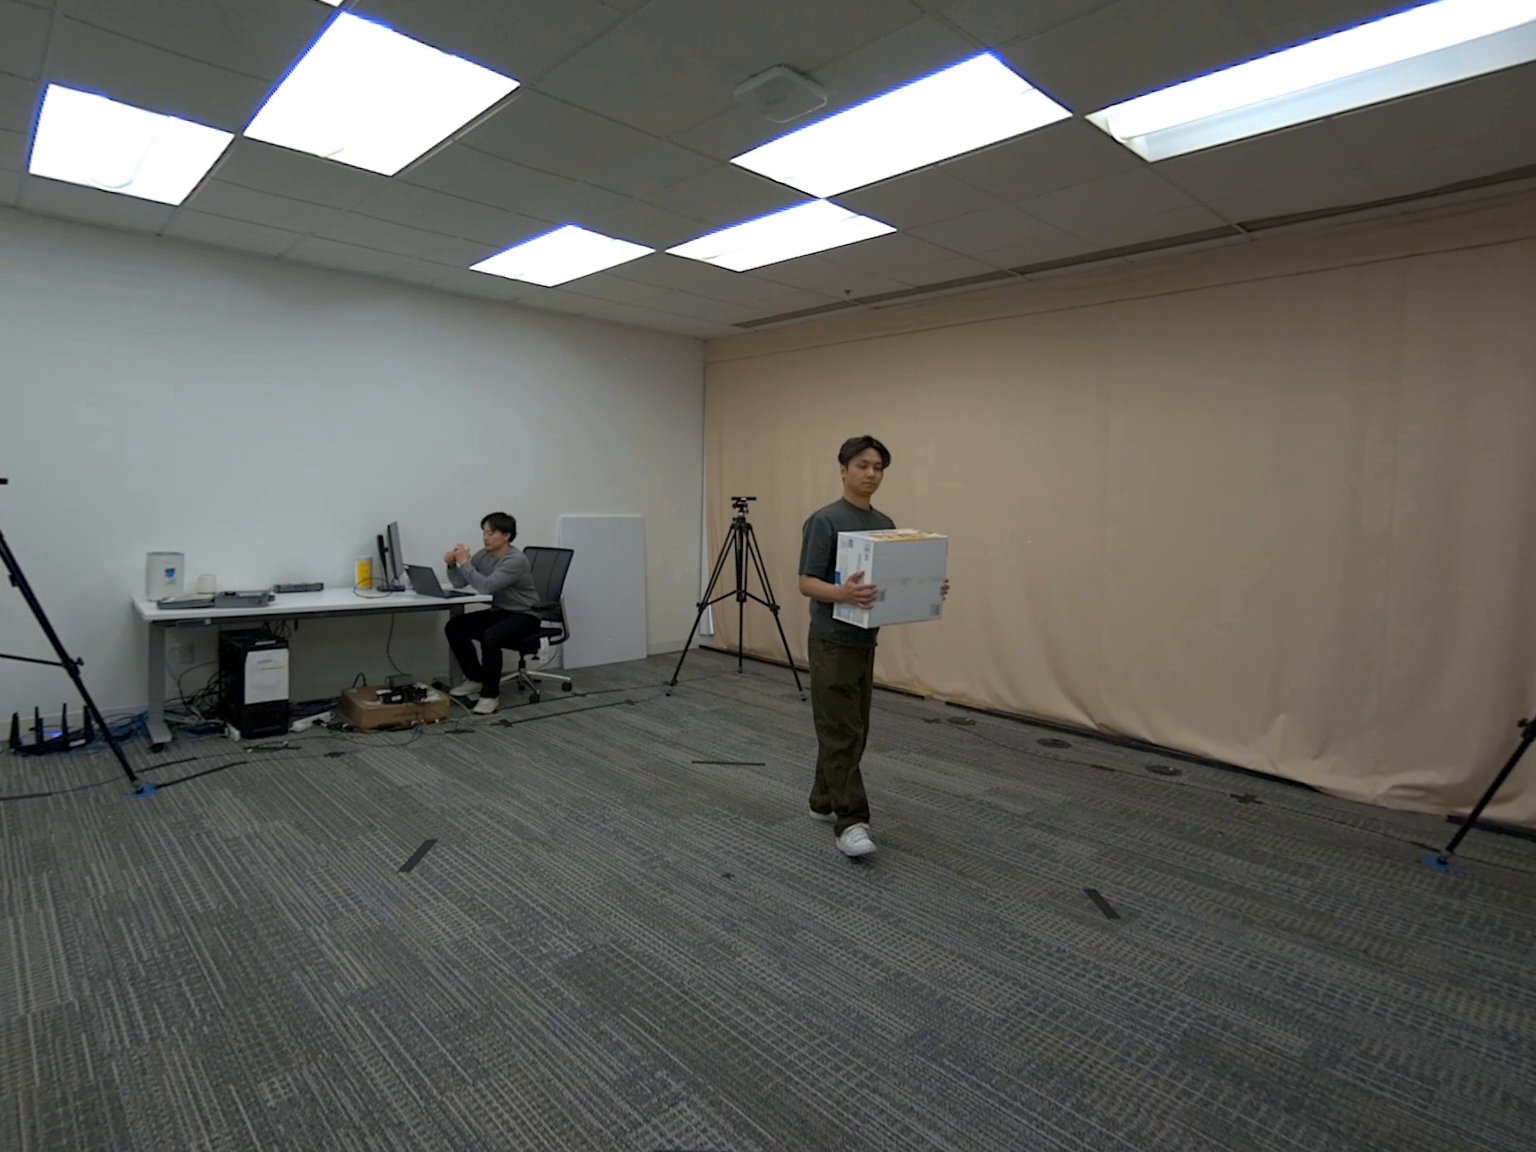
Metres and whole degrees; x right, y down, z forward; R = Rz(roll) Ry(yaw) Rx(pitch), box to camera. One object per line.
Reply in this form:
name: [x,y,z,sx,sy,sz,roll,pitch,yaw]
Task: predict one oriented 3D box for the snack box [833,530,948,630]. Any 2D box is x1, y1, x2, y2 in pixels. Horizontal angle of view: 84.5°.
snack box: [0.471,0.003,3.311,0.397,0.338,0.211,-4,11,-35]
